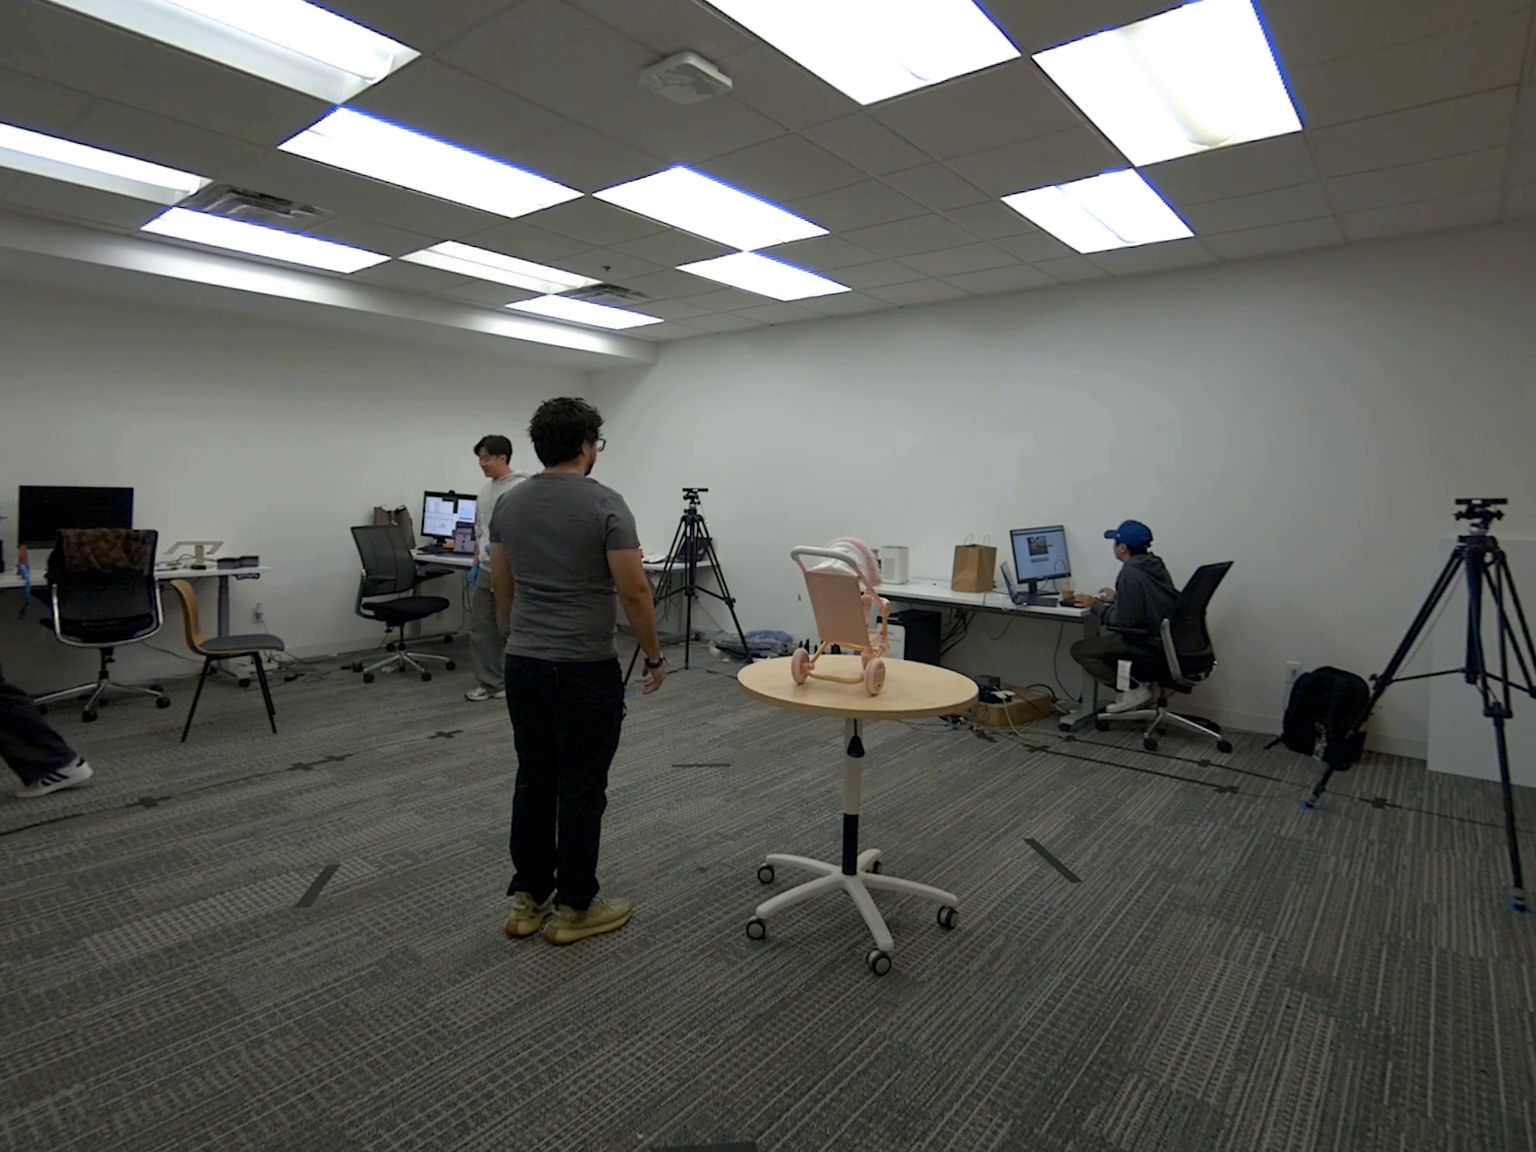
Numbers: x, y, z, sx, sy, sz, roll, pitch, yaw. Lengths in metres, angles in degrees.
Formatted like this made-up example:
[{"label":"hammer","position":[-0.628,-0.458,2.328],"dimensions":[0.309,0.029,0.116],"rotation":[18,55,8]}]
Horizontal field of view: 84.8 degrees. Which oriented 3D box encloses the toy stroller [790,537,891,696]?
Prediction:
[{"label":"toy stroller","position":[0.246,0.119,2.657],"dimensions":[0.290,0.526,0.336],"rotation":[5,20,34]}]
